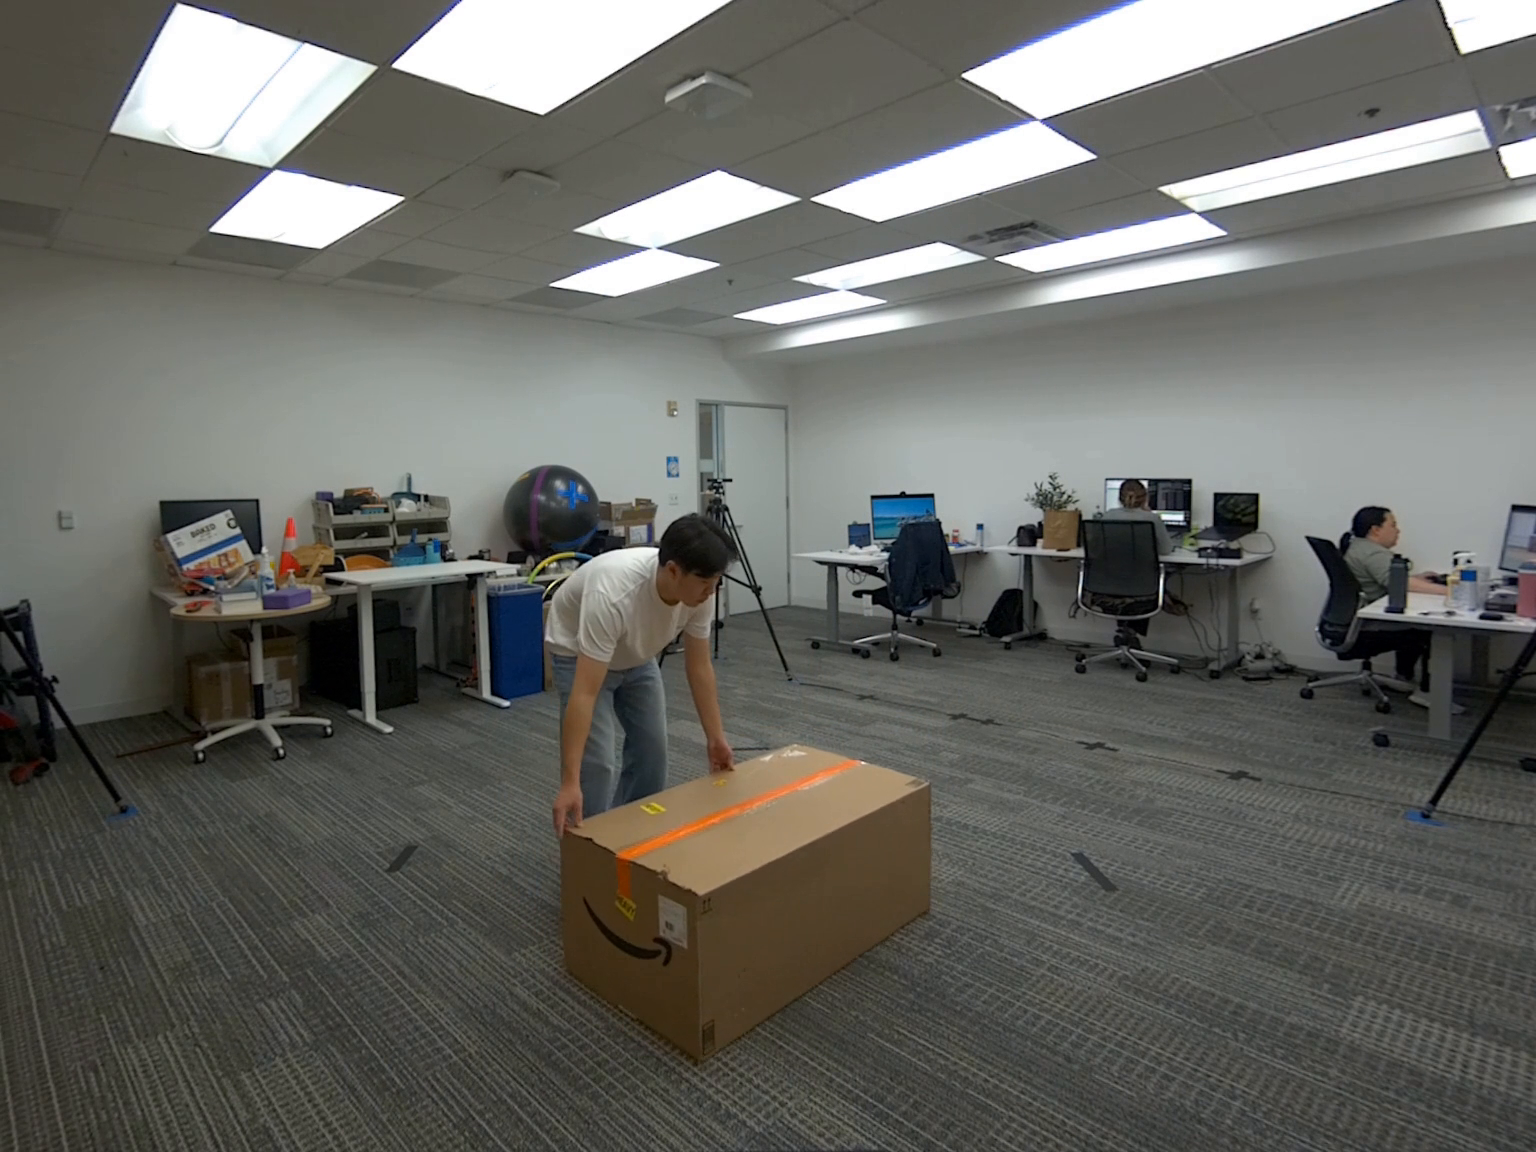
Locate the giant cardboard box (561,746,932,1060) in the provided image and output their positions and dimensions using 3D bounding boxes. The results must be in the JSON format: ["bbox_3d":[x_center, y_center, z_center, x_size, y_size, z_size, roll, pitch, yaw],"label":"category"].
[{"bbox_3d":[-0.028,0.890,2.583,0.595,0.424,0.999,3,8,44],"label":"giant cardboard box"}]
